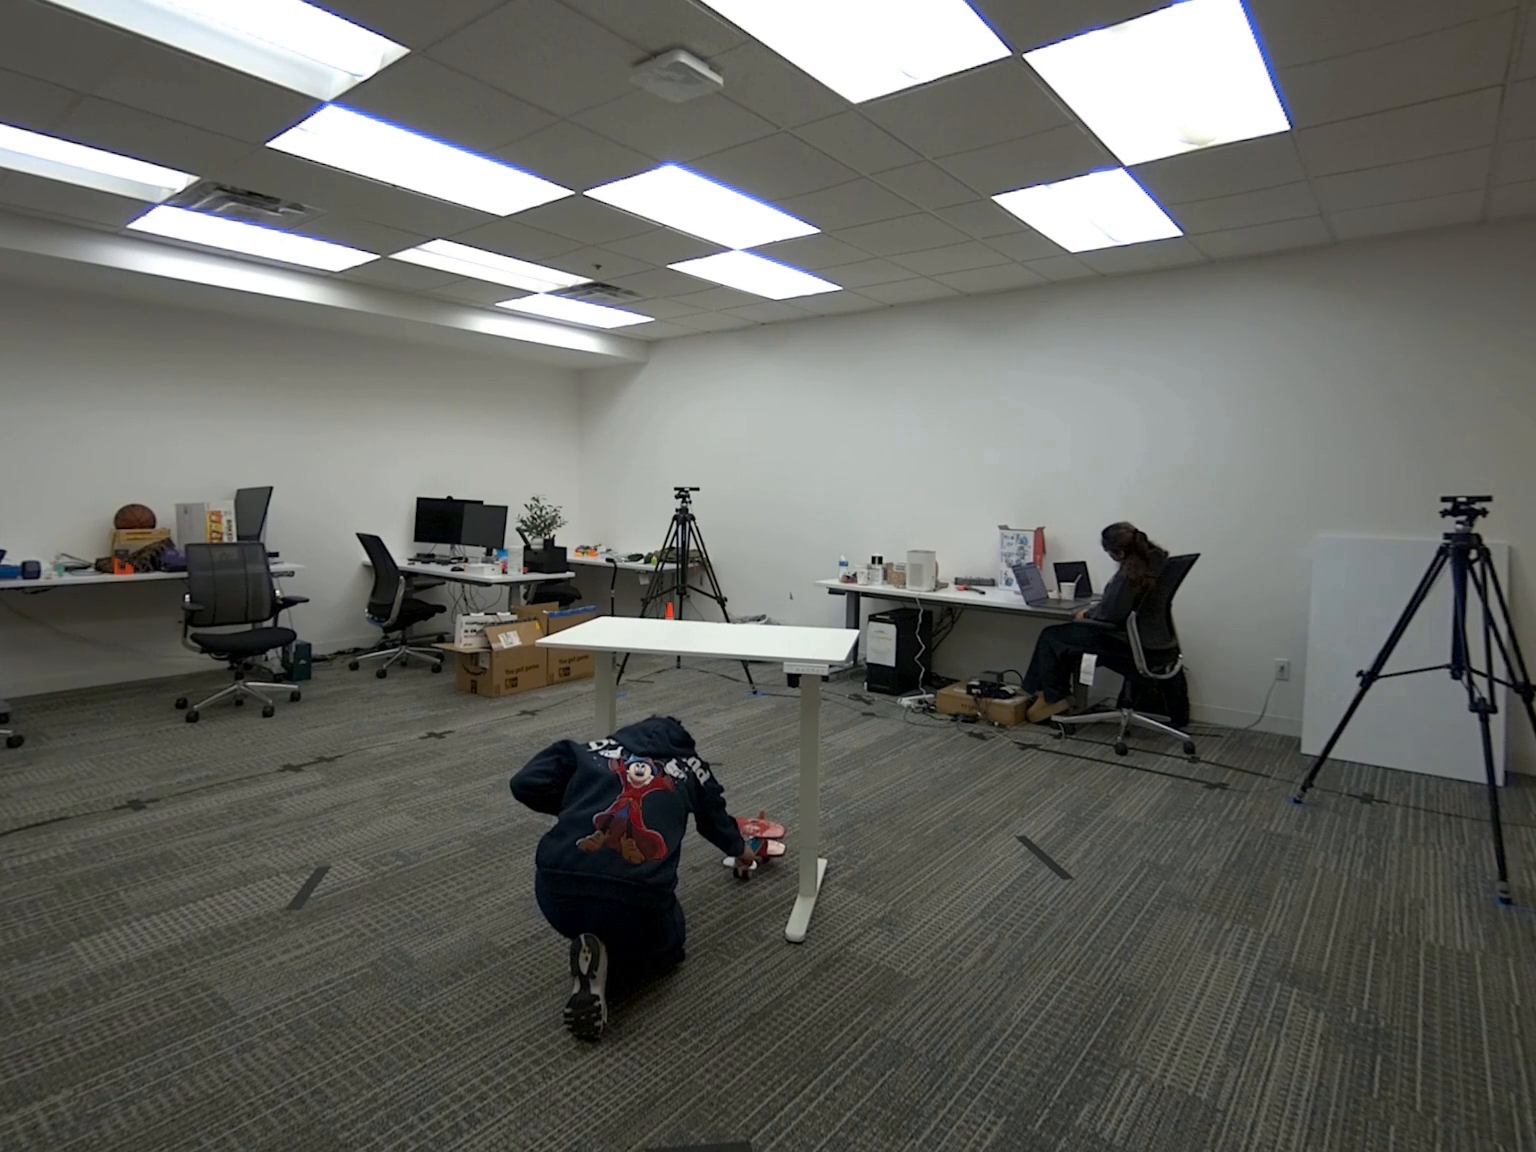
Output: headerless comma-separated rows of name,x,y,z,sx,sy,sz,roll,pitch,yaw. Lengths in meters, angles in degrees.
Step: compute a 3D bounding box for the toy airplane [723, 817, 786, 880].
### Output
toy airplane,-0.045,0.997,3.119,0.248,0.156,0.263,-1,4,-12
